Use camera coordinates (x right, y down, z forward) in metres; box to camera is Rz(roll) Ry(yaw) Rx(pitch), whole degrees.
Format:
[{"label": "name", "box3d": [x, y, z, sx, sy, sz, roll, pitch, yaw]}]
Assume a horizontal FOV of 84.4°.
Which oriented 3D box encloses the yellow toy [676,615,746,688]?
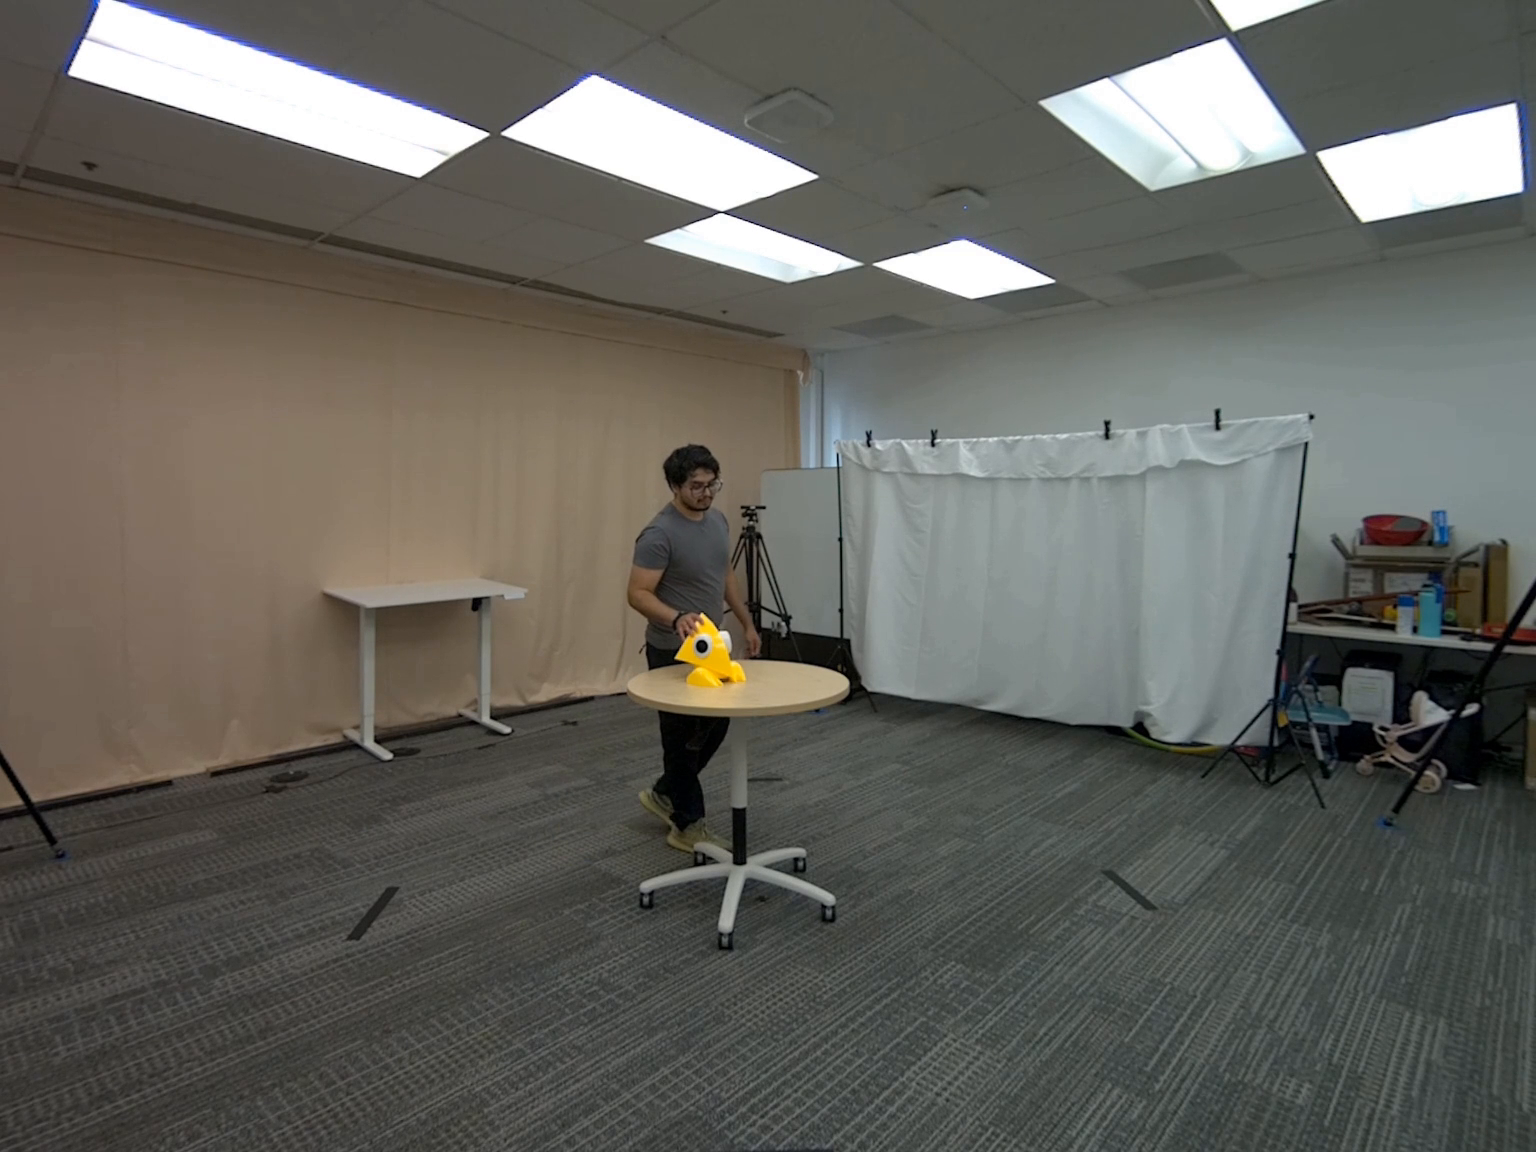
[{"label": "yellow toy", "box3d": [-0.184, 0.249, 2.935, 0.198, 0.230, 0.199, -4, 6, -44]}]
